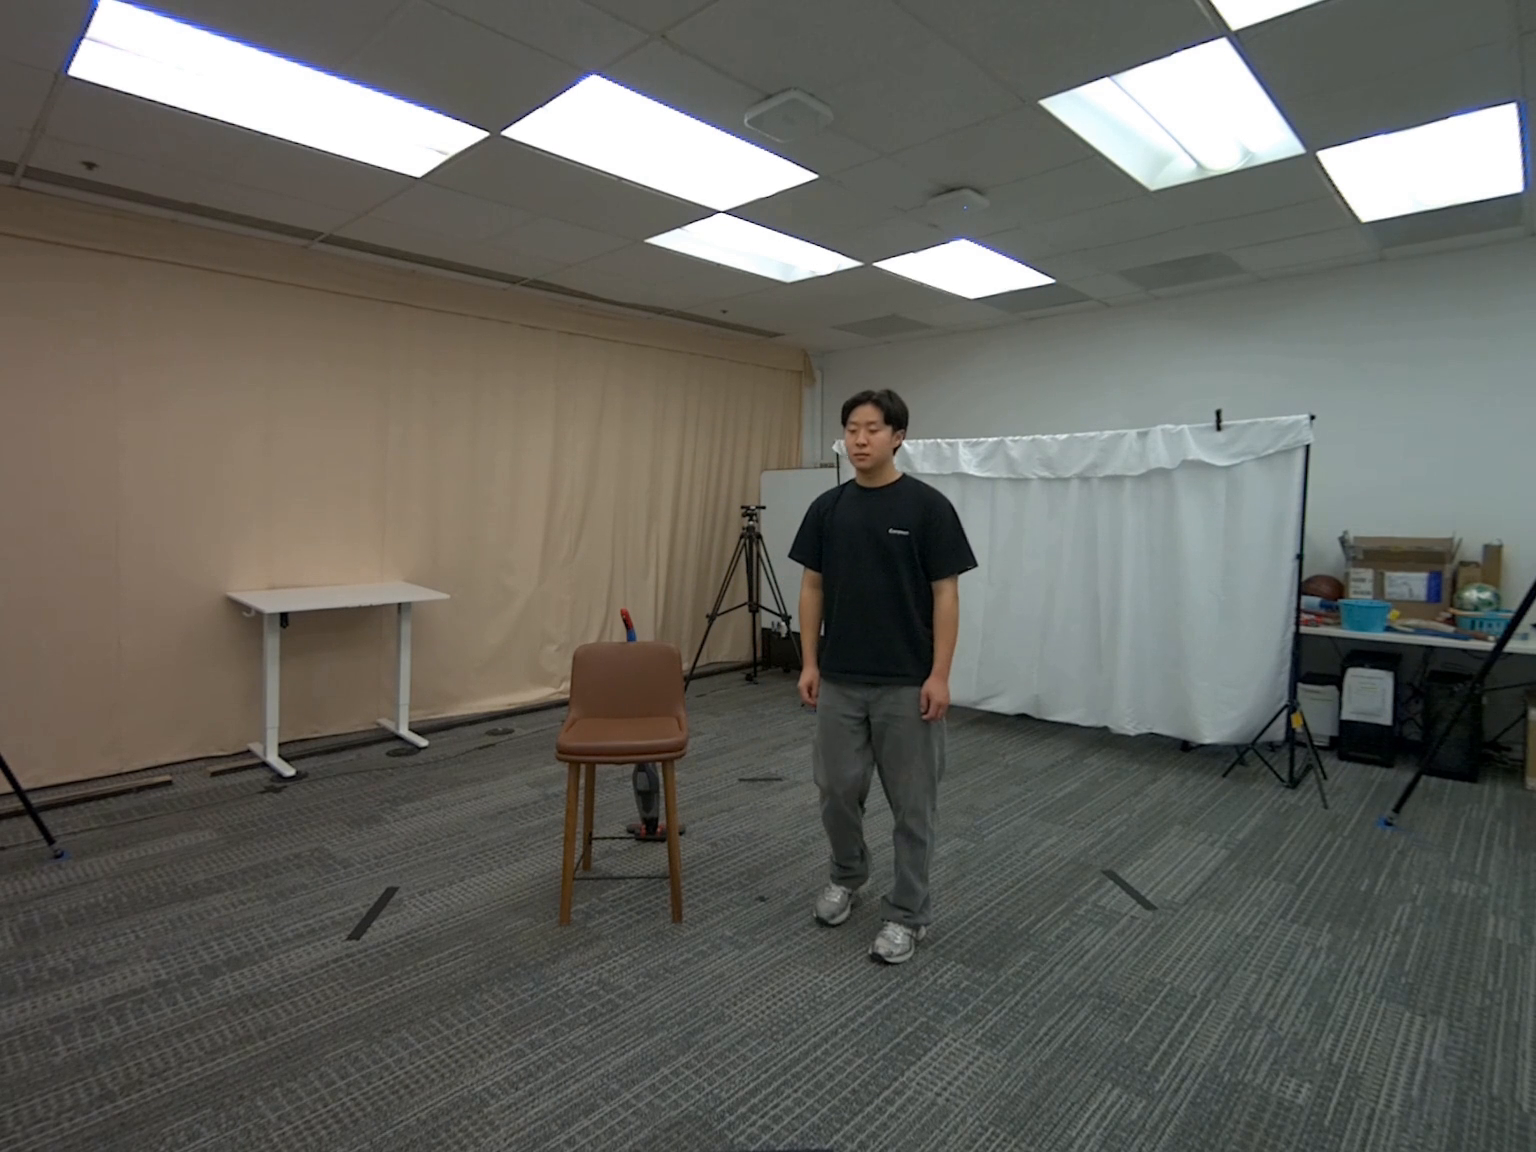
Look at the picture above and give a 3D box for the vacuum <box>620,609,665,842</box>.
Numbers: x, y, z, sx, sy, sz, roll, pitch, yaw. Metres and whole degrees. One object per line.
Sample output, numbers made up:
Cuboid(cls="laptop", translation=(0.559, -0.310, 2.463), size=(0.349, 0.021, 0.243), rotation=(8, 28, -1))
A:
Cuboid(cls="vacuum", translation=(-0.516, 0.611, 3.387), size=(0.253, 1.035, 0.145), rotation=(-3, 20, 2))
